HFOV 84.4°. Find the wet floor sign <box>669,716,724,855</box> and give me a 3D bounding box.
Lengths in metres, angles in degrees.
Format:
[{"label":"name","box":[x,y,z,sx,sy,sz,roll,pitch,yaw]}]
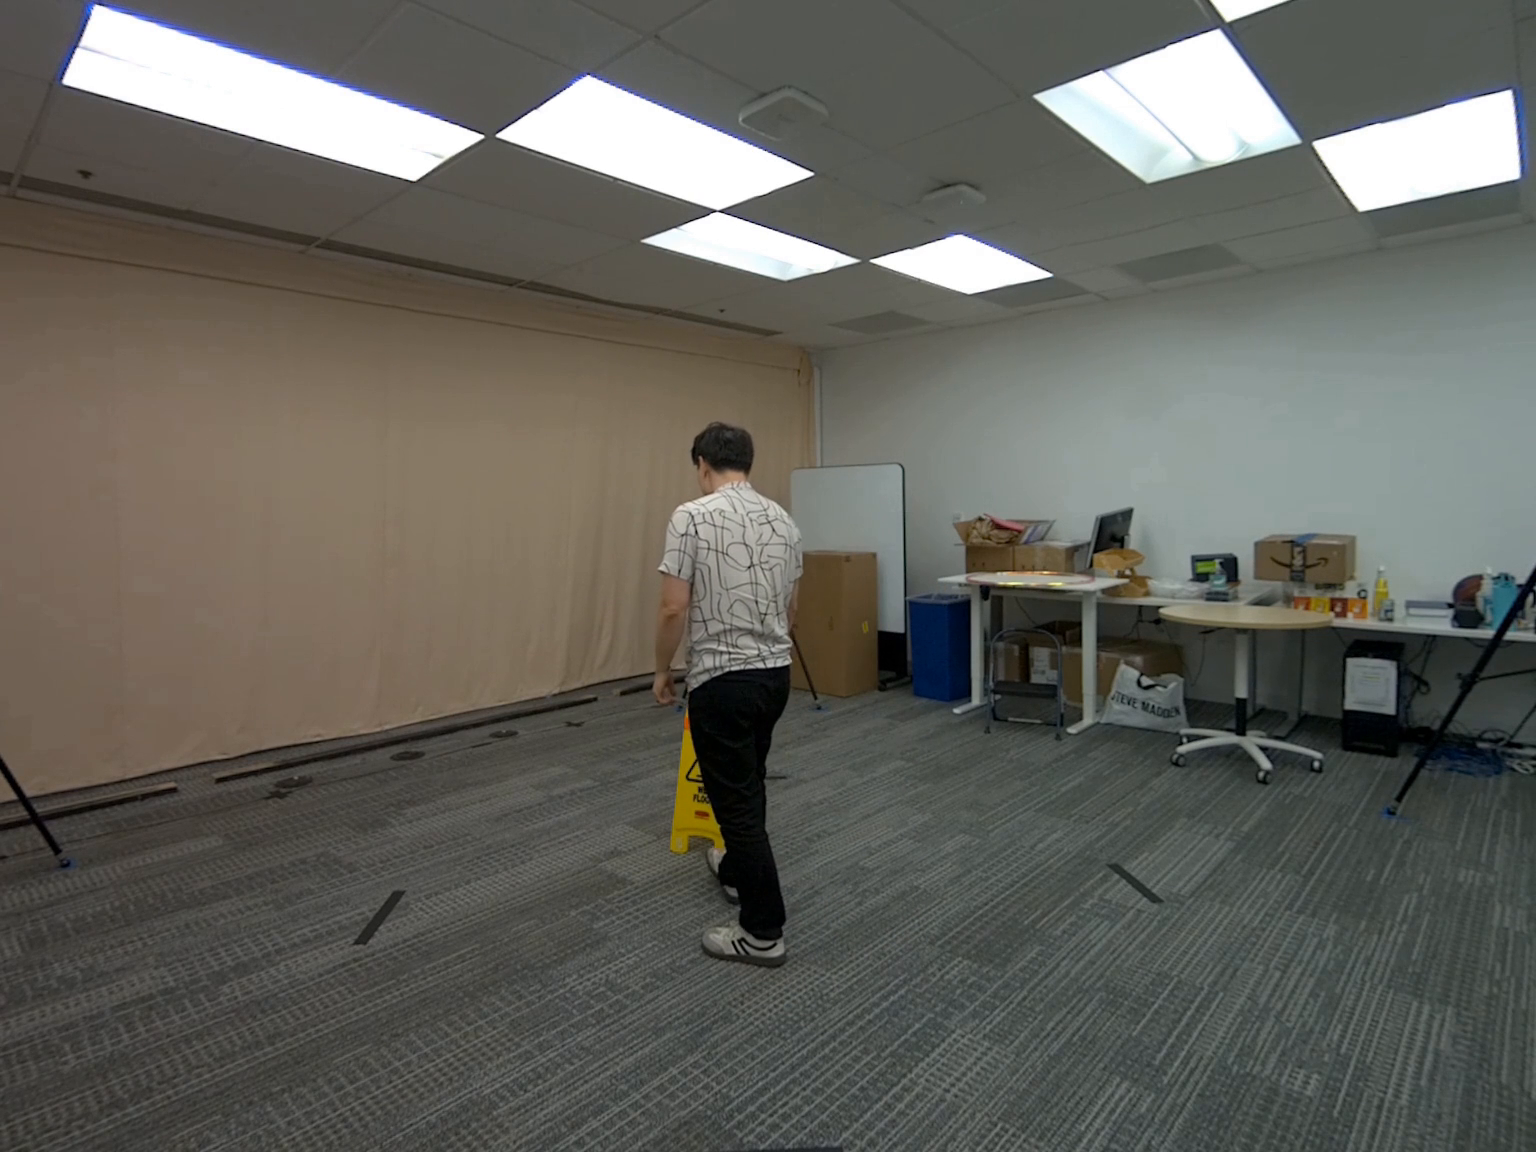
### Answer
[{"label":"wet floor sign","box":[-0.220,0.778,3.454,0.289,0.645,0.283,-1,3,26]}]
